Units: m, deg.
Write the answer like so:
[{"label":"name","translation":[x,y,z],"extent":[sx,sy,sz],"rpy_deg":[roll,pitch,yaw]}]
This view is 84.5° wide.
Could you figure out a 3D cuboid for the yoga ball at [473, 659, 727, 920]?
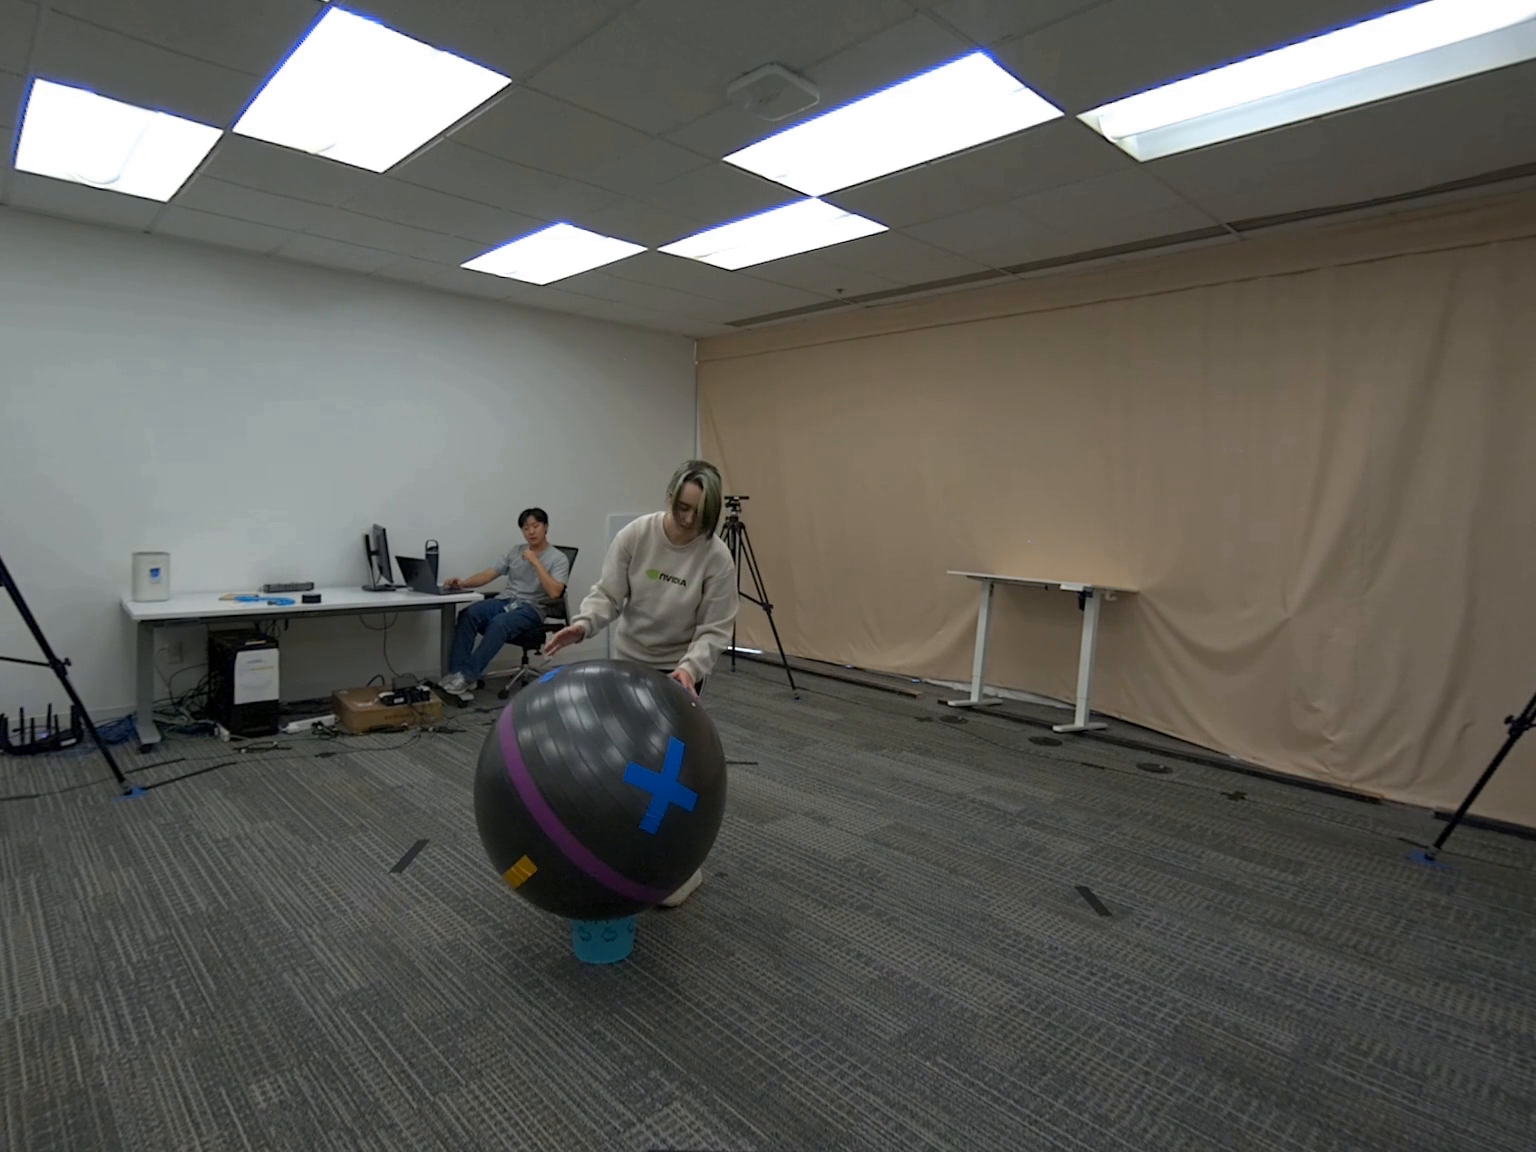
[{"label":"yoga ball","translation":[-0.502,0.639,2.543],"extent":[0.757,0.756,0.761],"rpy_deg":[1,4,-1]}]
